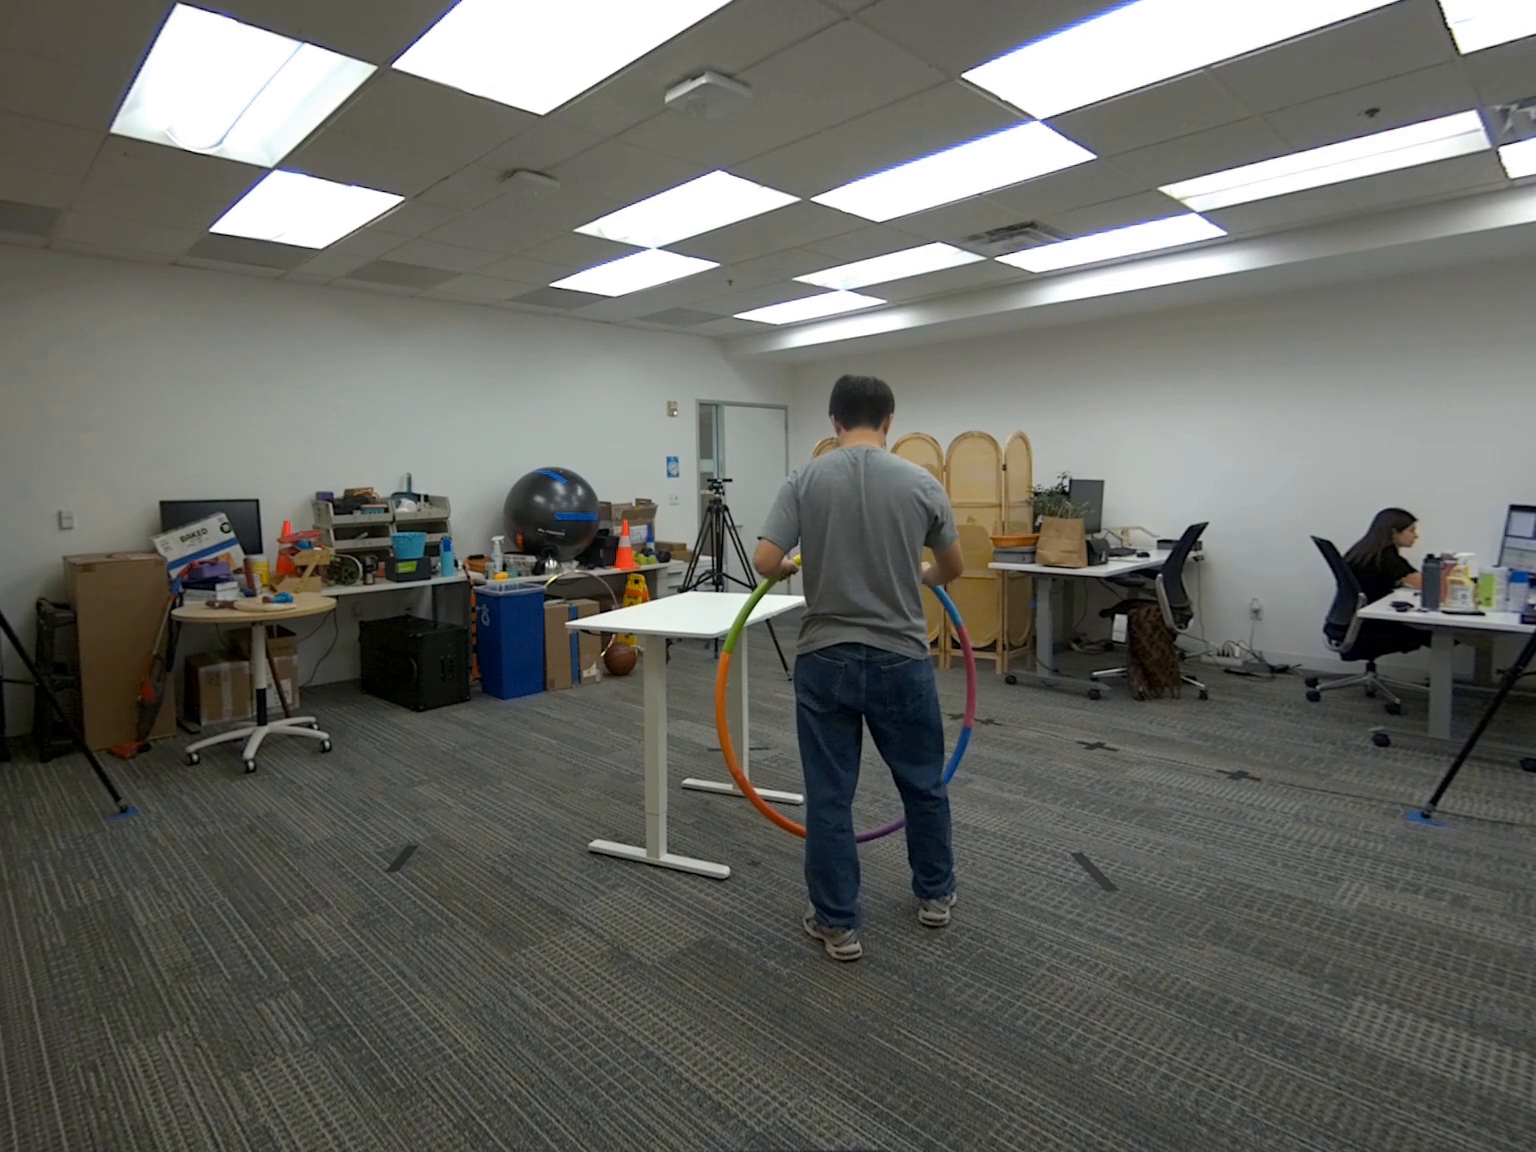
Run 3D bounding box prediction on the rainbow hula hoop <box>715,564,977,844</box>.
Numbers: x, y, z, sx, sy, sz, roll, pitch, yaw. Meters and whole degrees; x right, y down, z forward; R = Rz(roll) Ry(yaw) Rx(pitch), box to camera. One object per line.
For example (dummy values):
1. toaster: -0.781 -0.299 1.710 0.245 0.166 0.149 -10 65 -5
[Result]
1. rainbow hula hoop: 0.275 0.385 2.850 0.960 0.980 0.036 -3 -1 -22
